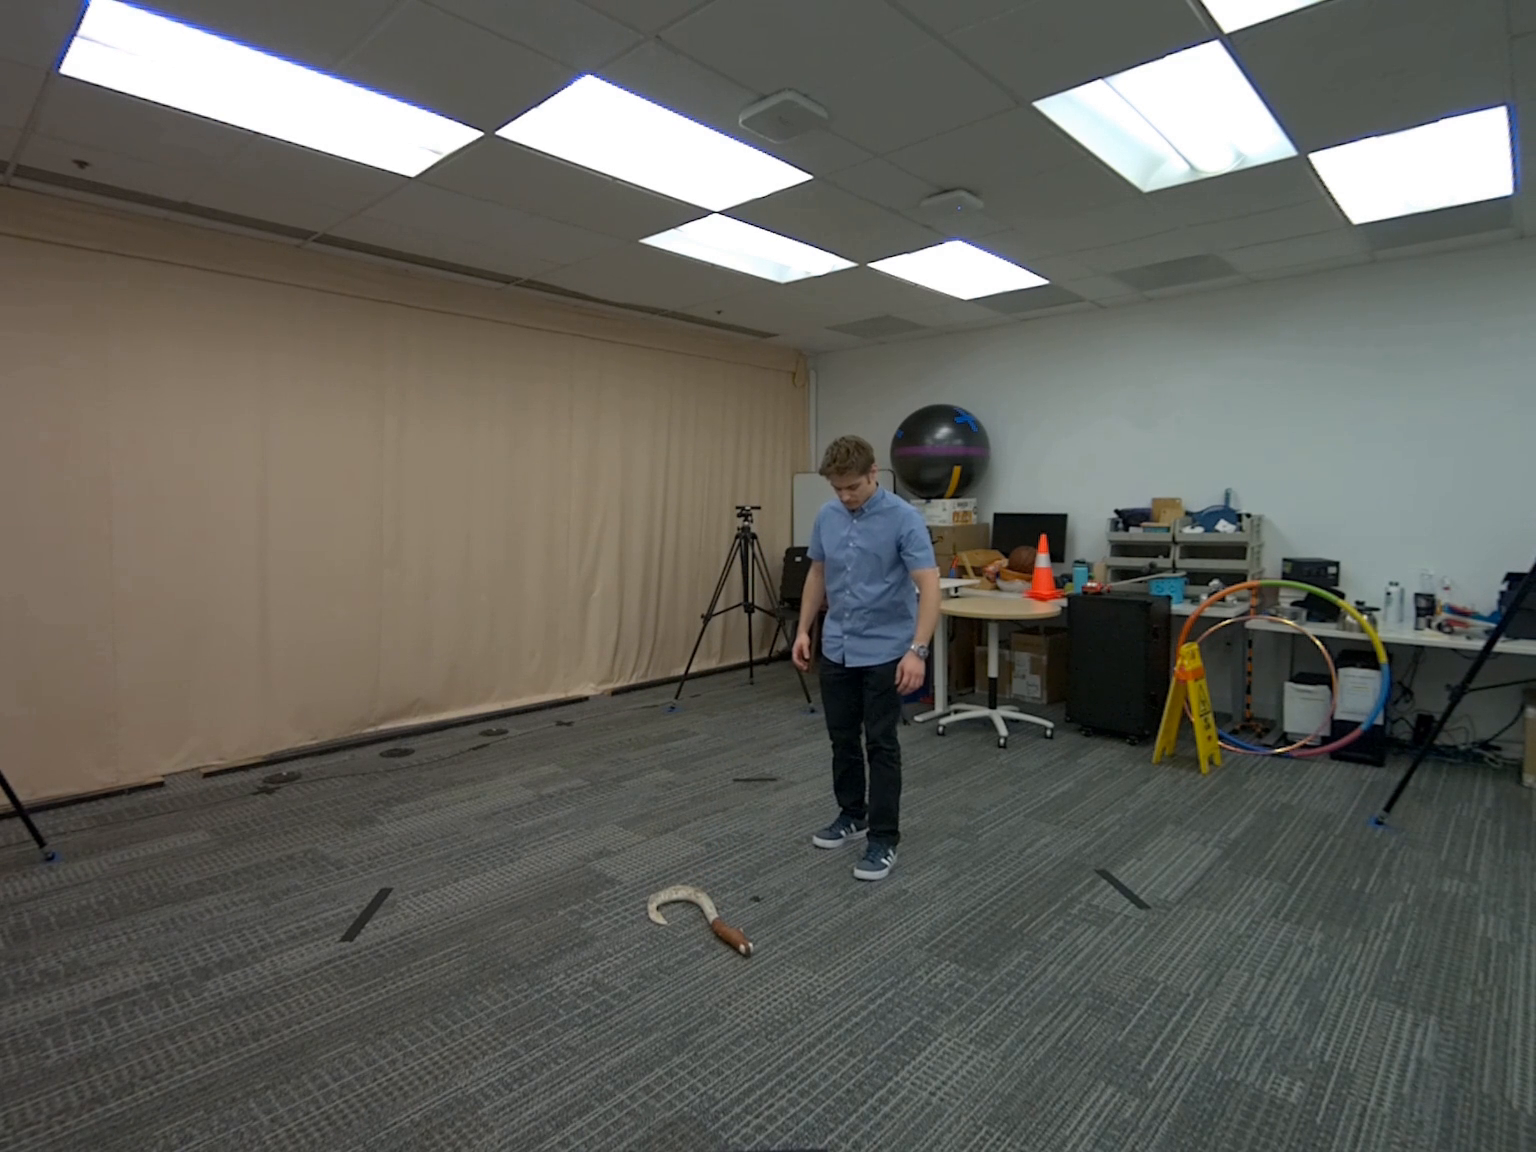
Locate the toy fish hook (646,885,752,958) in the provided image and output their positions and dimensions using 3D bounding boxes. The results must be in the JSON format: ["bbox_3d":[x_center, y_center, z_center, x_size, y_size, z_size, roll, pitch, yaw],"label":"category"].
[{"bbox_3d":[-0.234,1.150,2.778,0.219,0.048,0.522,-13,10,-31],"label":"toy fish hook"}]
